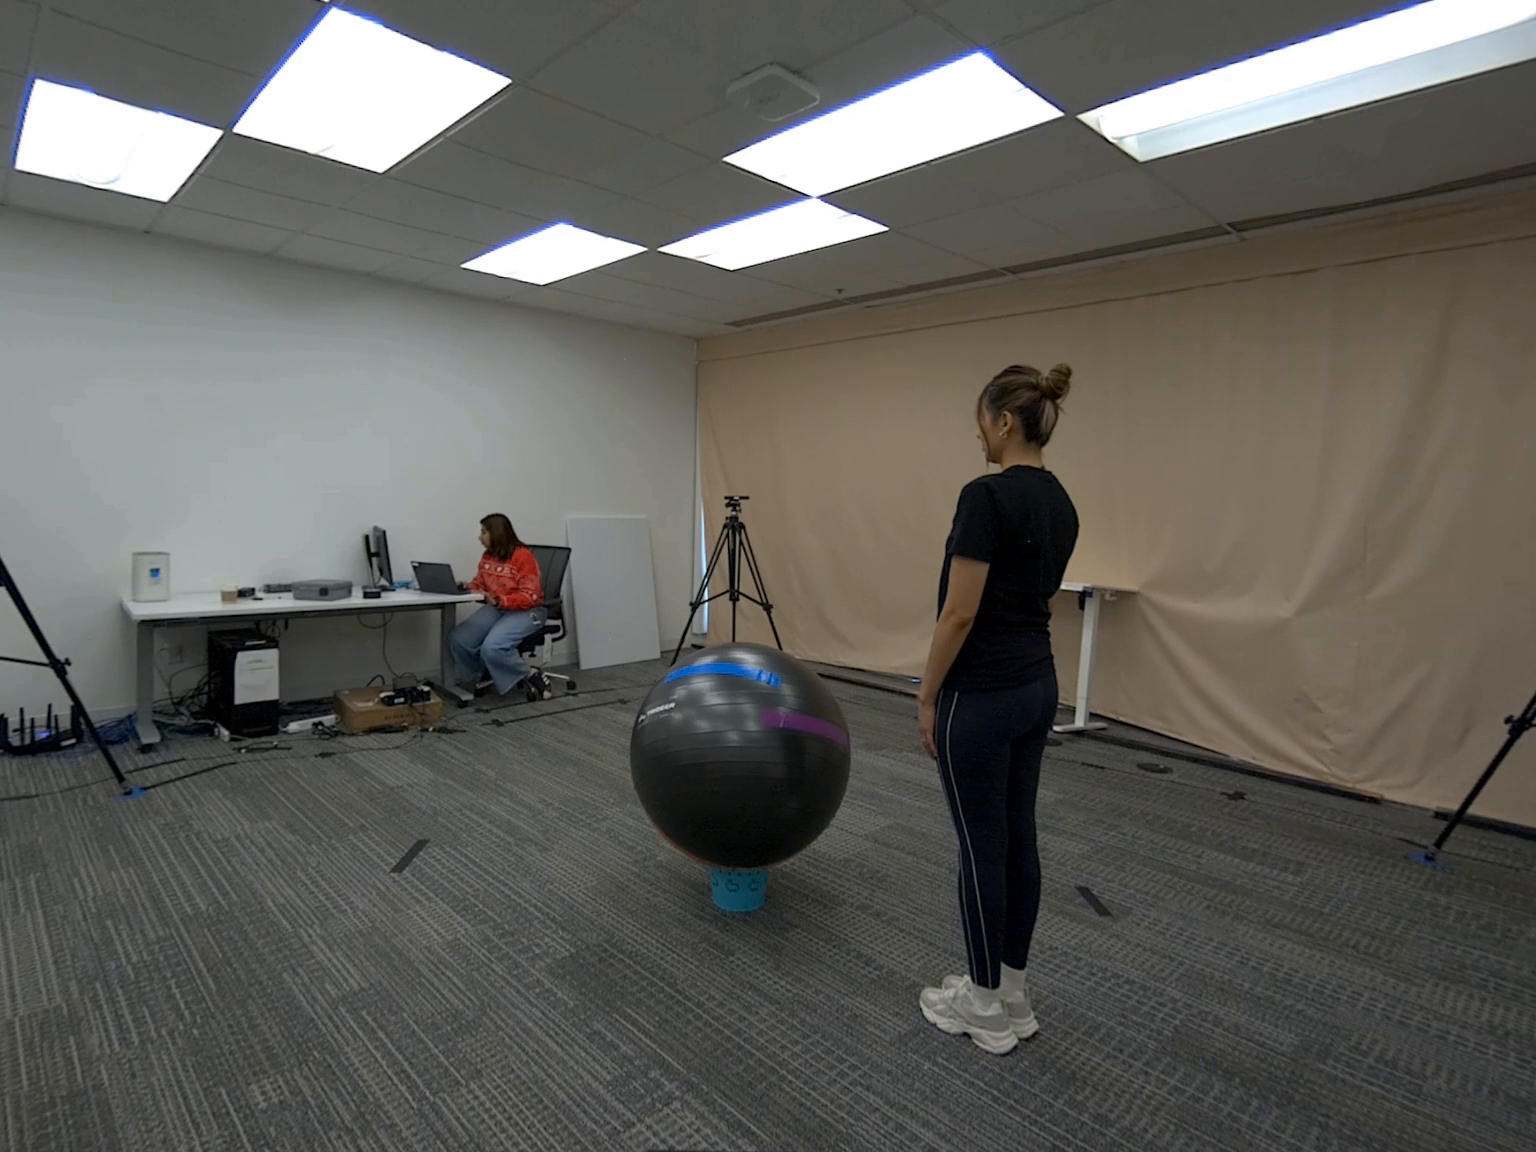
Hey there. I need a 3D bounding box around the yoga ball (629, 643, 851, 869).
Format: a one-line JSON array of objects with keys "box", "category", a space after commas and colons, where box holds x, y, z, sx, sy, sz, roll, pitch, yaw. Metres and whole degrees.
[{"box": [-0.096, 0.612, 2.903, 0.757, 0.756, 0.761, 1, 4, -1], "category": "yoga ball"}]
